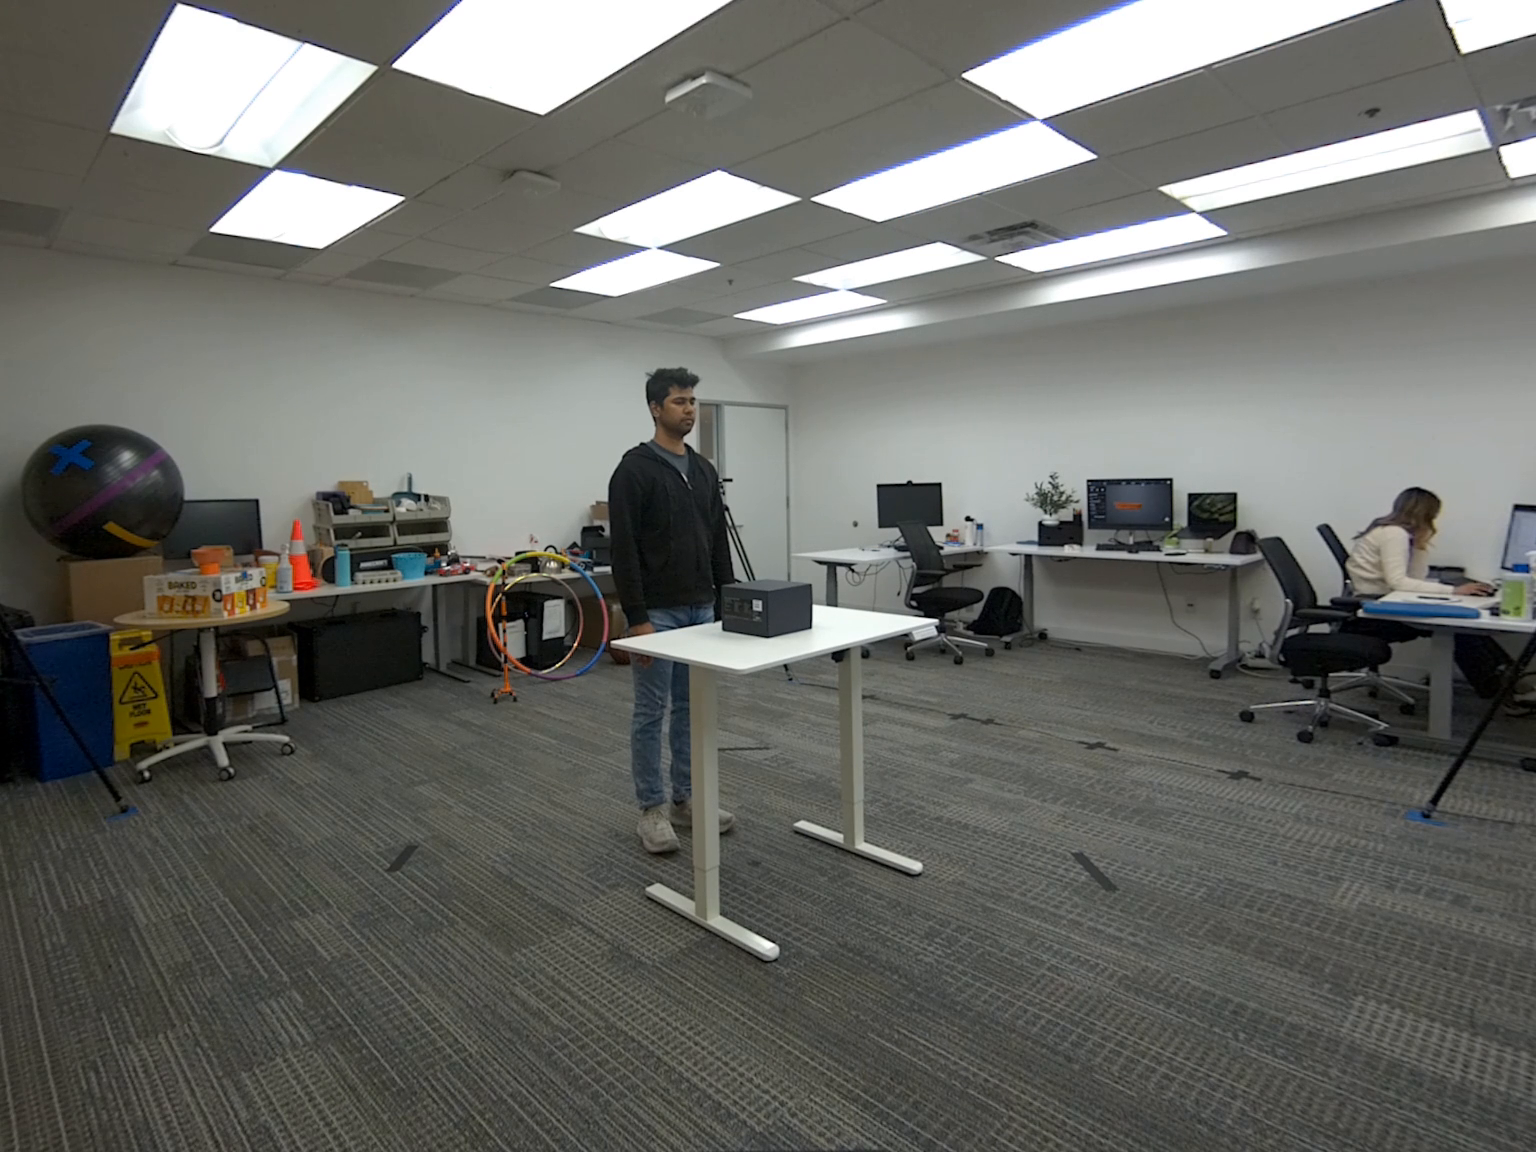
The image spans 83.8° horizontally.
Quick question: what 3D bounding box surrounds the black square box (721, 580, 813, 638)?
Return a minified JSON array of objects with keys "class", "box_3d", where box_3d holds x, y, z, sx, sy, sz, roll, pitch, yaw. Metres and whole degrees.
[{"class":"black square box","box_3d":[-0.002,0.105,2.902,0.223,0.155,0.222,4,8,43]}]
